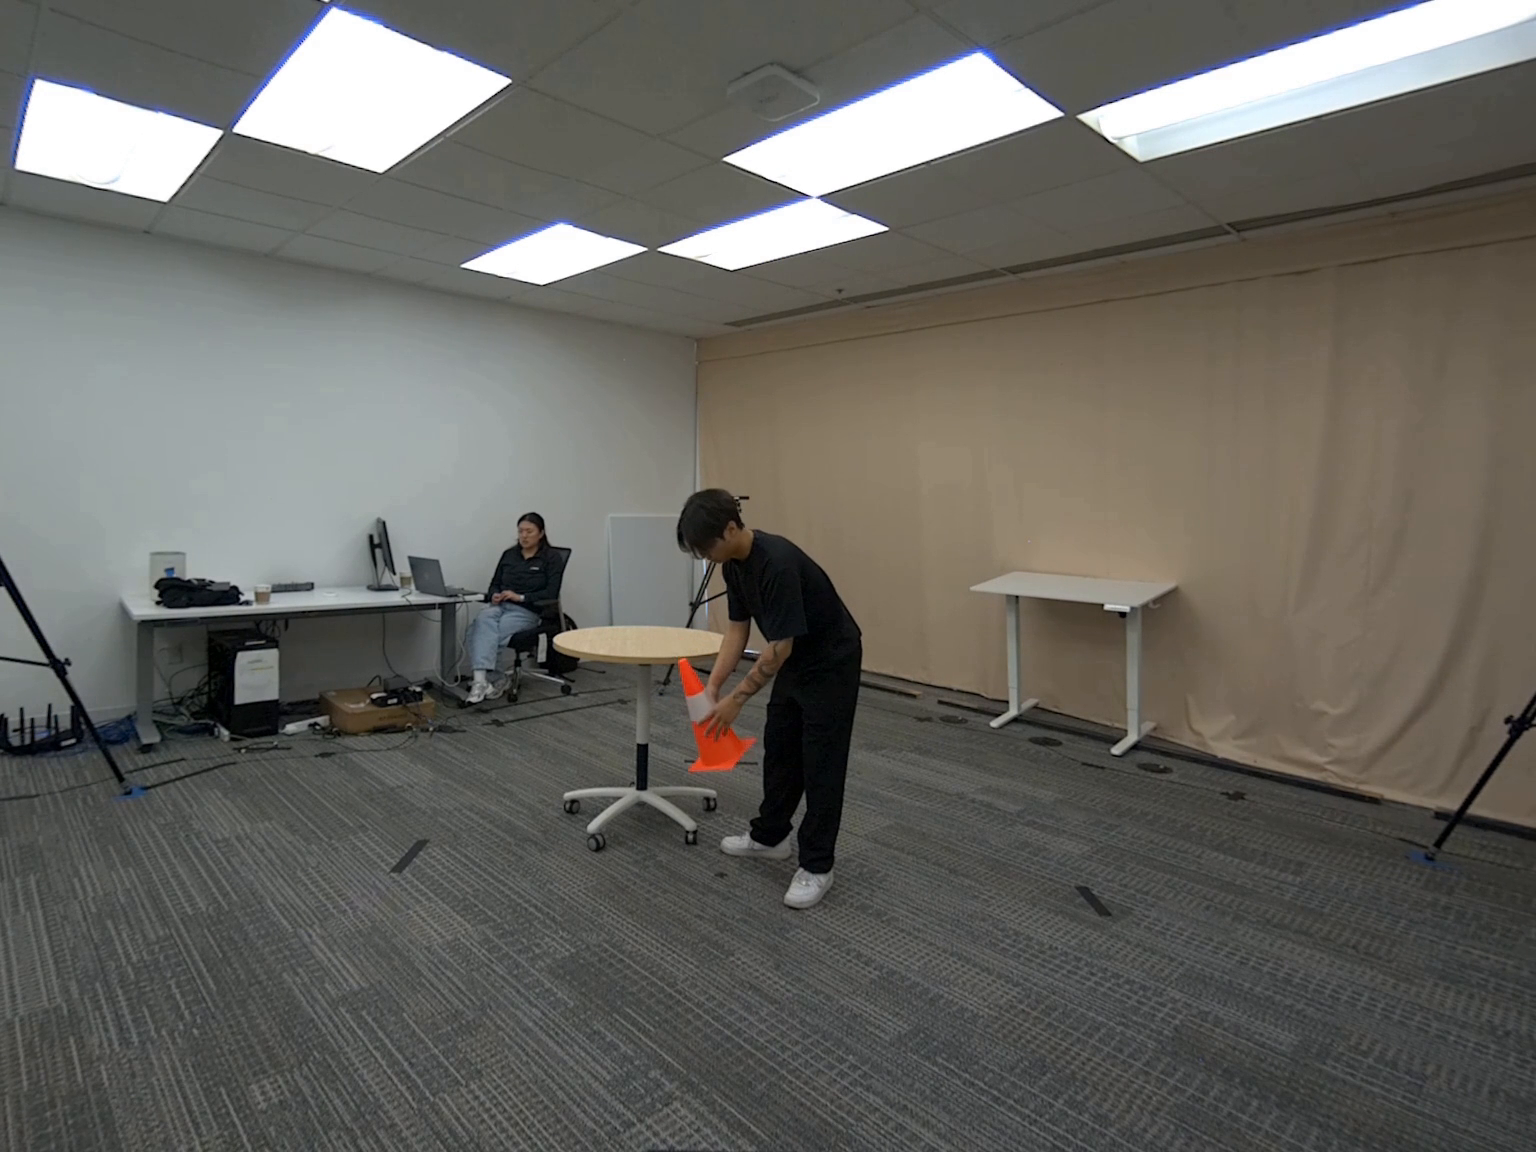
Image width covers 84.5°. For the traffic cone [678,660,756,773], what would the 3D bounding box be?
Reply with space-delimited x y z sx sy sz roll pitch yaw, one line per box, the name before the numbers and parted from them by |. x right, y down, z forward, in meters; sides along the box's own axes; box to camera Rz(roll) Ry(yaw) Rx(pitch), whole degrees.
traffic cone | -0.232 0.469 2.971 0.208 0.379 0.203 -6 17 43
